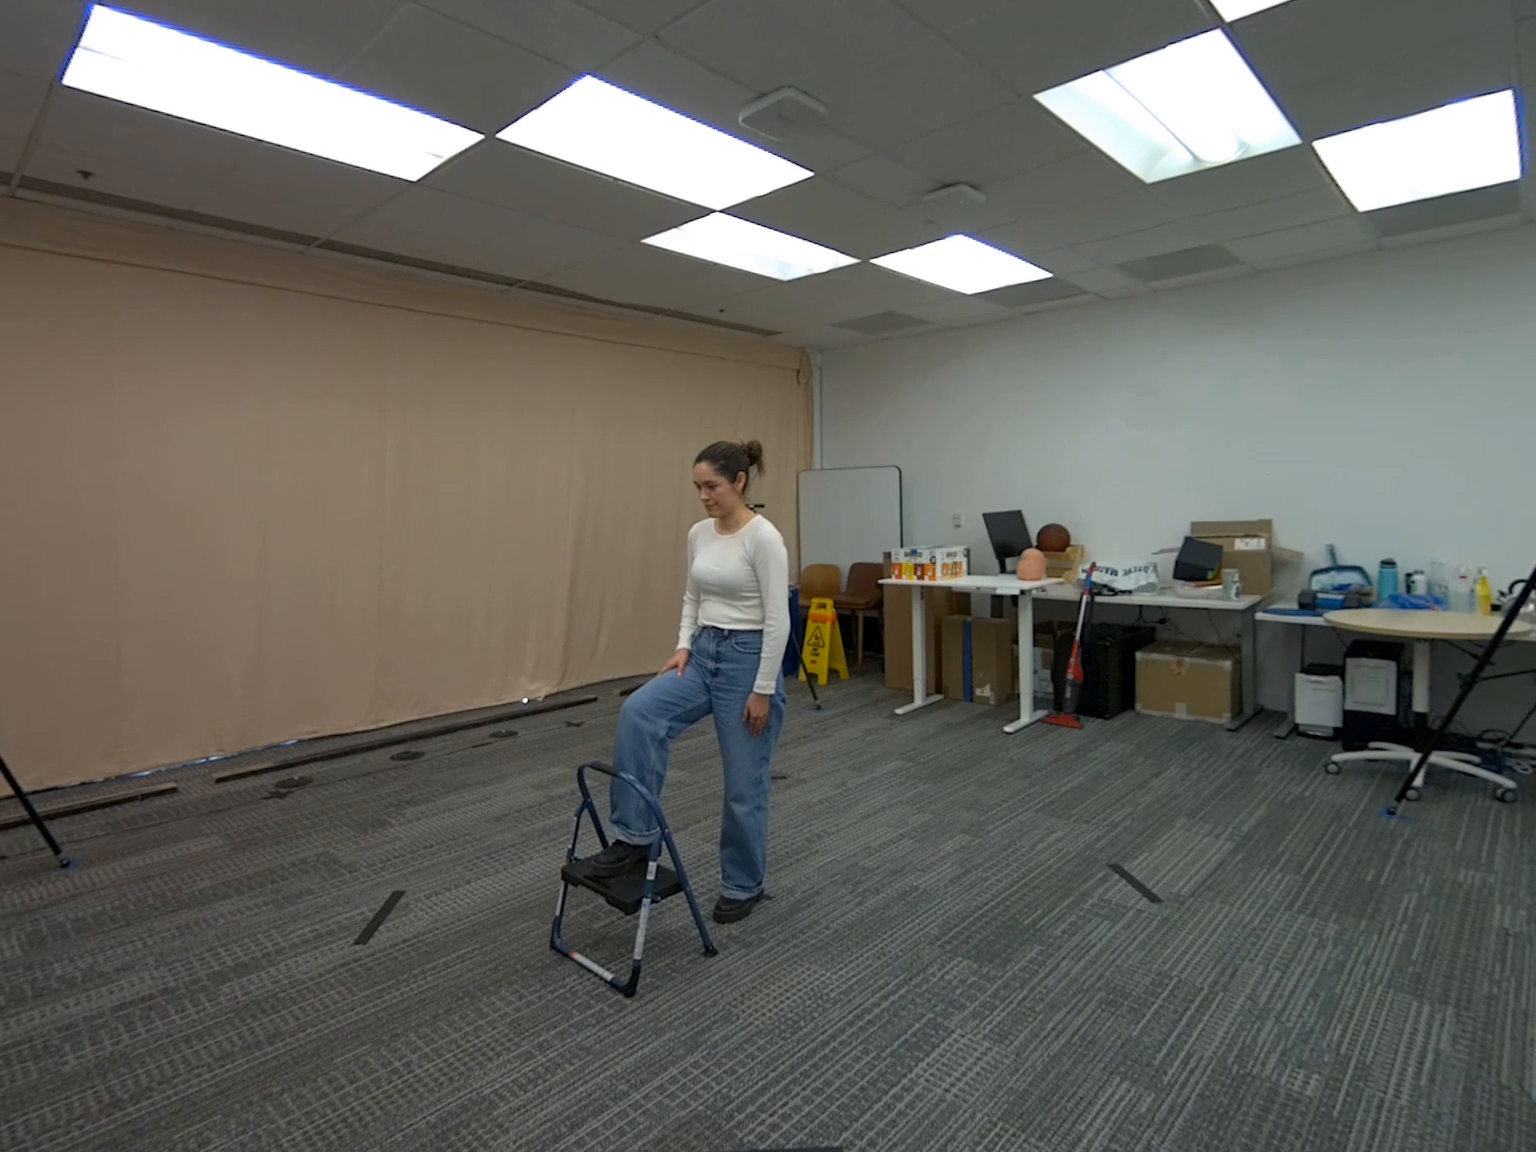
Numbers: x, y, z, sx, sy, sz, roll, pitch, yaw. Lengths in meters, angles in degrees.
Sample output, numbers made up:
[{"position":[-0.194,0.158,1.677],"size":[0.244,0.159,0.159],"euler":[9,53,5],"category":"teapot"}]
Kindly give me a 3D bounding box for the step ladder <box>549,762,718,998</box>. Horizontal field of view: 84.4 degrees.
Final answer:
[{"position":[-0.433,0.878,2.632],"size":[0.445,0.605,0.339],"euler":[2,4,43],"category":"step ladder"}]
